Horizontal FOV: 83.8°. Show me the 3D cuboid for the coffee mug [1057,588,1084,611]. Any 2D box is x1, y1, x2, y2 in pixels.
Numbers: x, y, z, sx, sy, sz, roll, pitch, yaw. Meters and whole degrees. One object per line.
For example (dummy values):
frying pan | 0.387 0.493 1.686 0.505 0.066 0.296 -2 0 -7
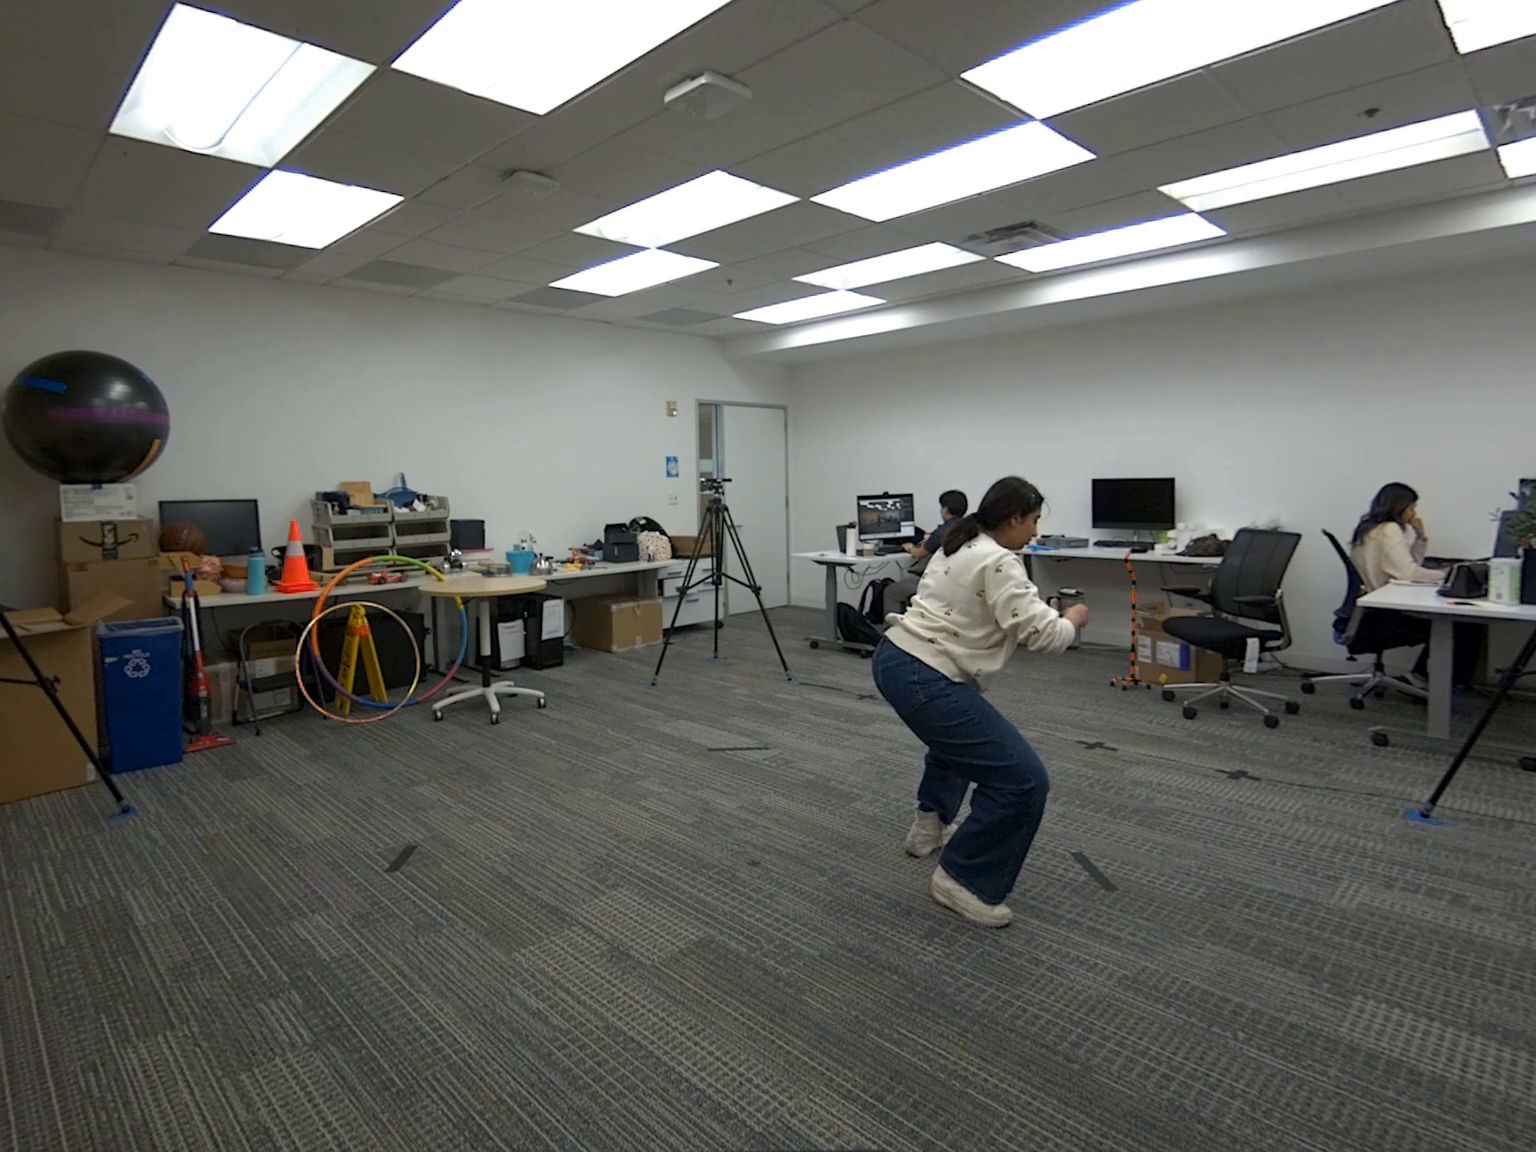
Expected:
coffee mug | 1.051 0.144 2.954 0.120 0.201 0.090 -12 13 -28
